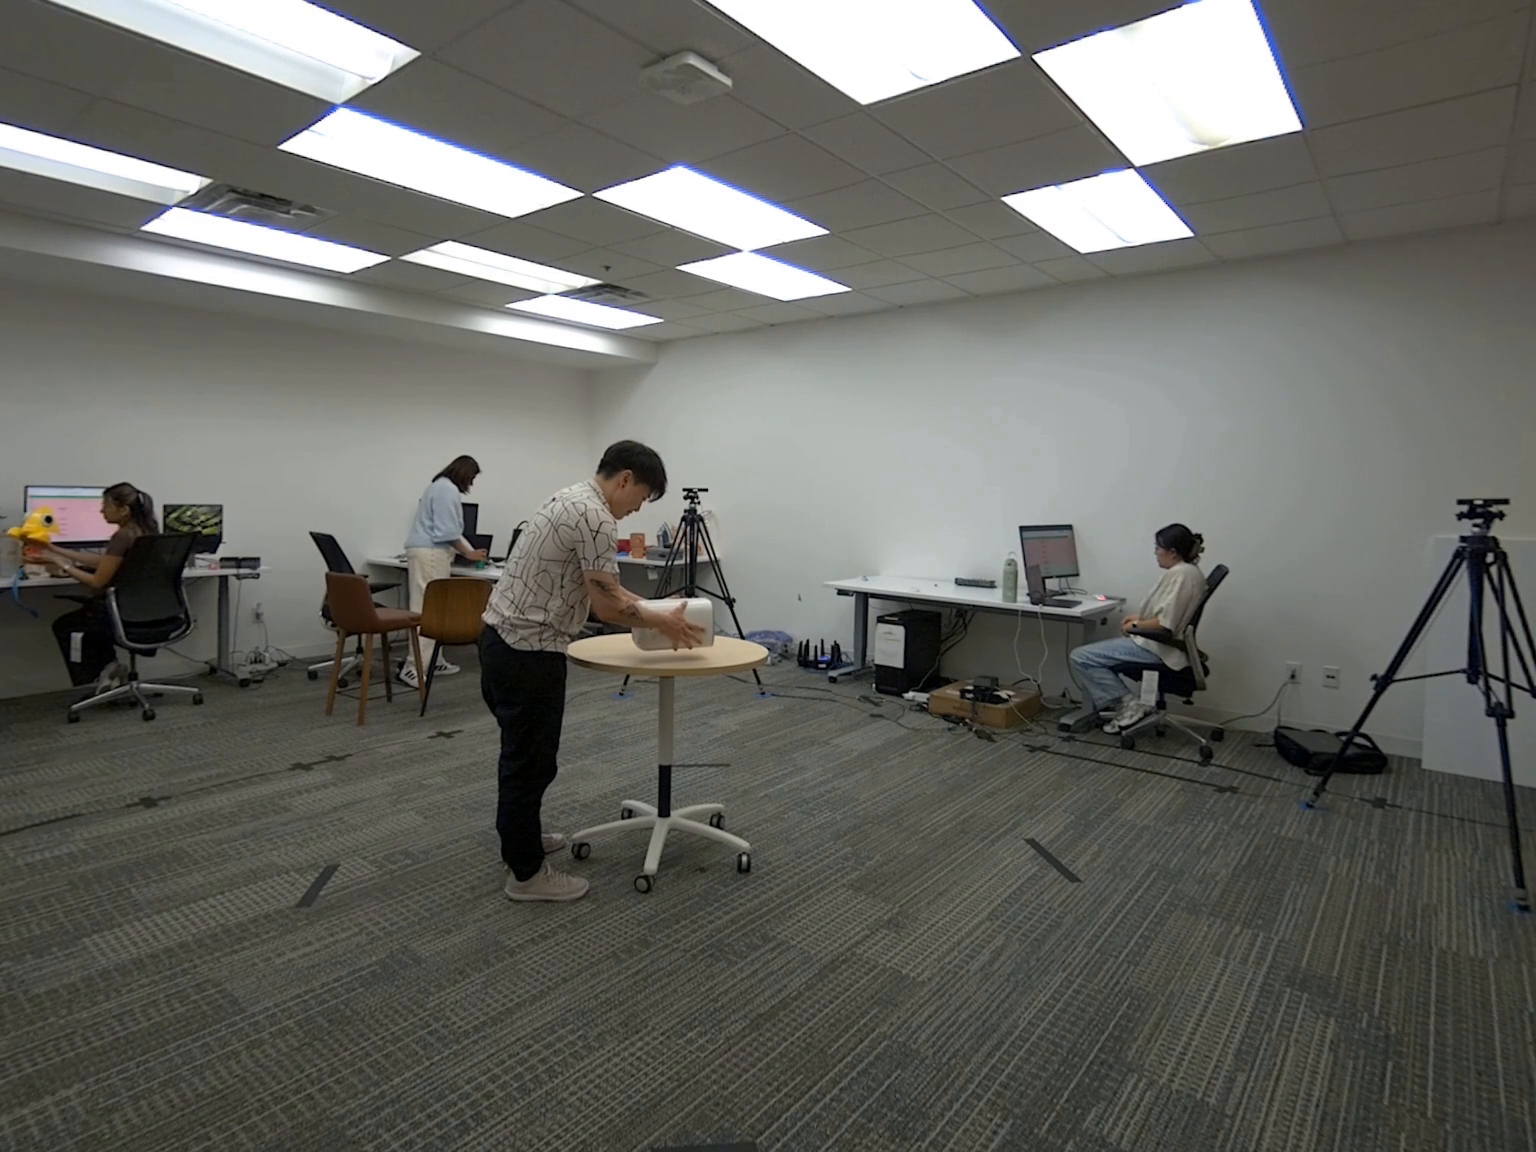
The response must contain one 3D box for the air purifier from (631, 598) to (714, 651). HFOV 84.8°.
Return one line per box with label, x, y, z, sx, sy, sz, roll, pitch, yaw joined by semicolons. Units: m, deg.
air purifier;-0.358;0.172;3.031;0.261;0.170;0.175;-2;6;-15
